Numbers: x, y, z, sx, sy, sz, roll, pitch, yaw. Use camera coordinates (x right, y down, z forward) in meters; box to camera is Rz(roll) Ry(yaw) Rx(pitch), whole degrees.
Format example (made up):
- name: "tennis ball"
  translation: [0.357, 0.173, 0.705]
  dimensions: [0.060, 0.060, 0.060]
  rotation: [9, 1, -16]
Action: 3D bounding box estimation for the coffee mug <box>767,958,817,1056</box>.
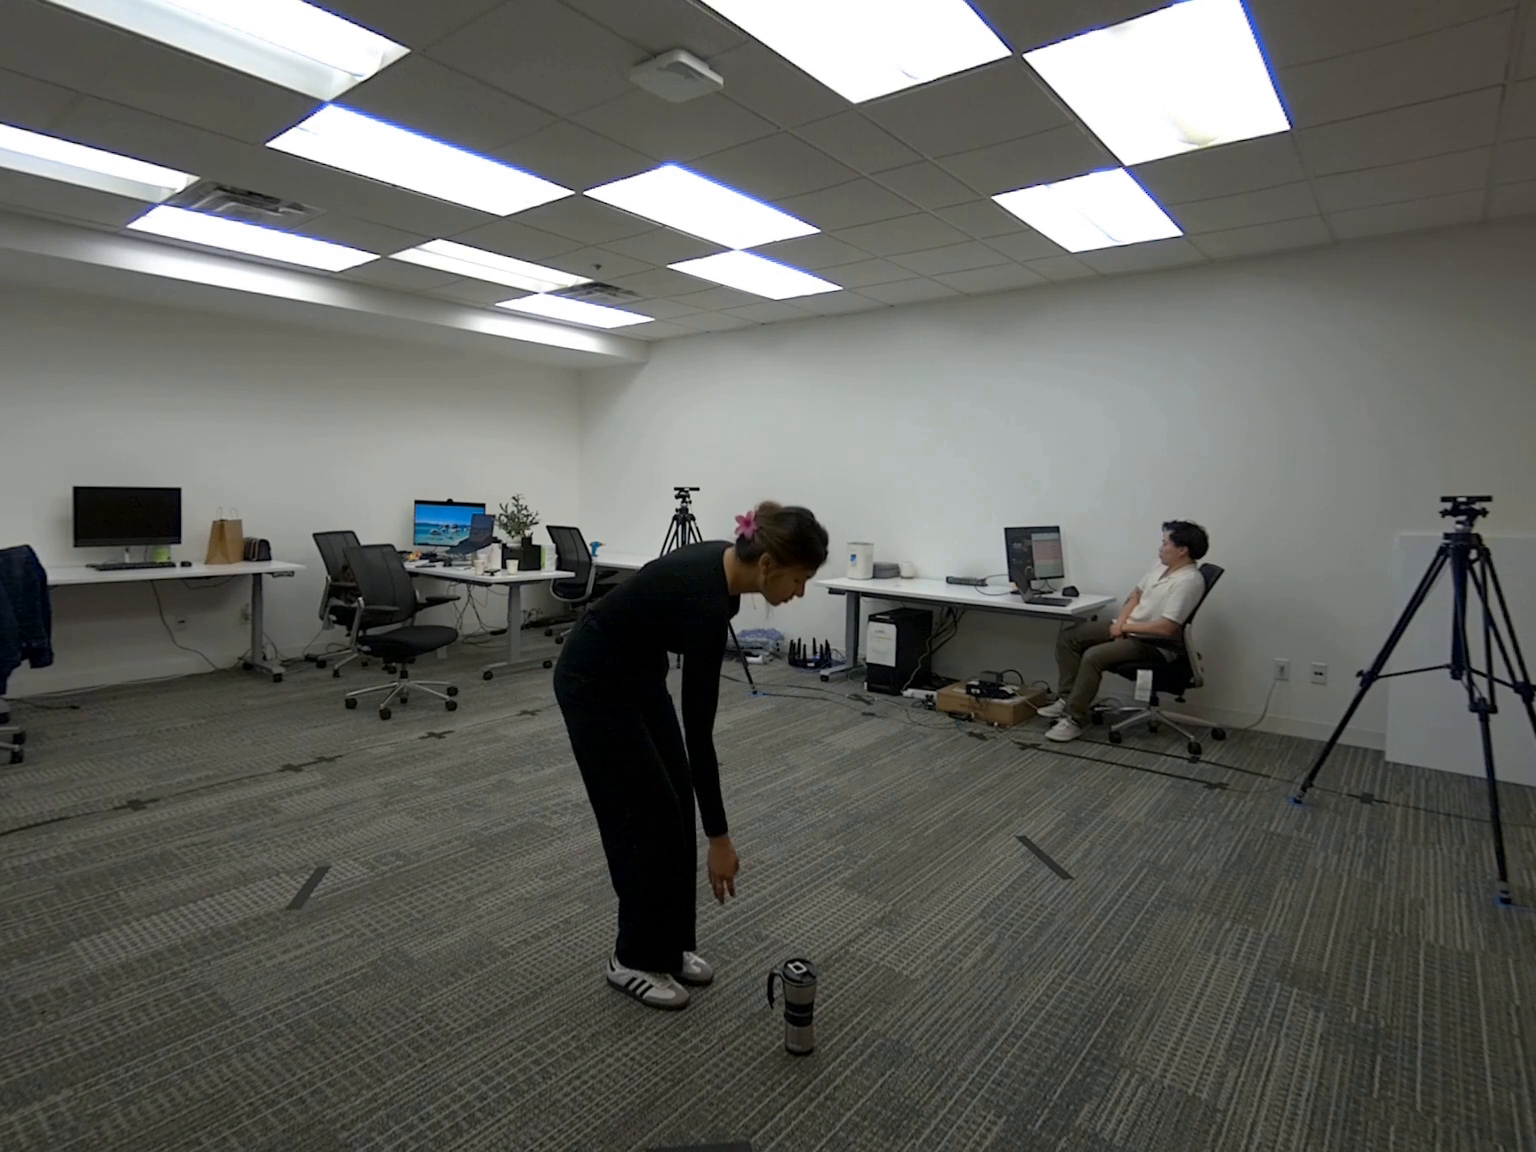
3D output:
- name: "coffee mug"
  translation: [0.059, 1.076, 2.124]
  dimensions: [0.126, 0.201, 0.085]
  rotation: [10, 14, 43]
